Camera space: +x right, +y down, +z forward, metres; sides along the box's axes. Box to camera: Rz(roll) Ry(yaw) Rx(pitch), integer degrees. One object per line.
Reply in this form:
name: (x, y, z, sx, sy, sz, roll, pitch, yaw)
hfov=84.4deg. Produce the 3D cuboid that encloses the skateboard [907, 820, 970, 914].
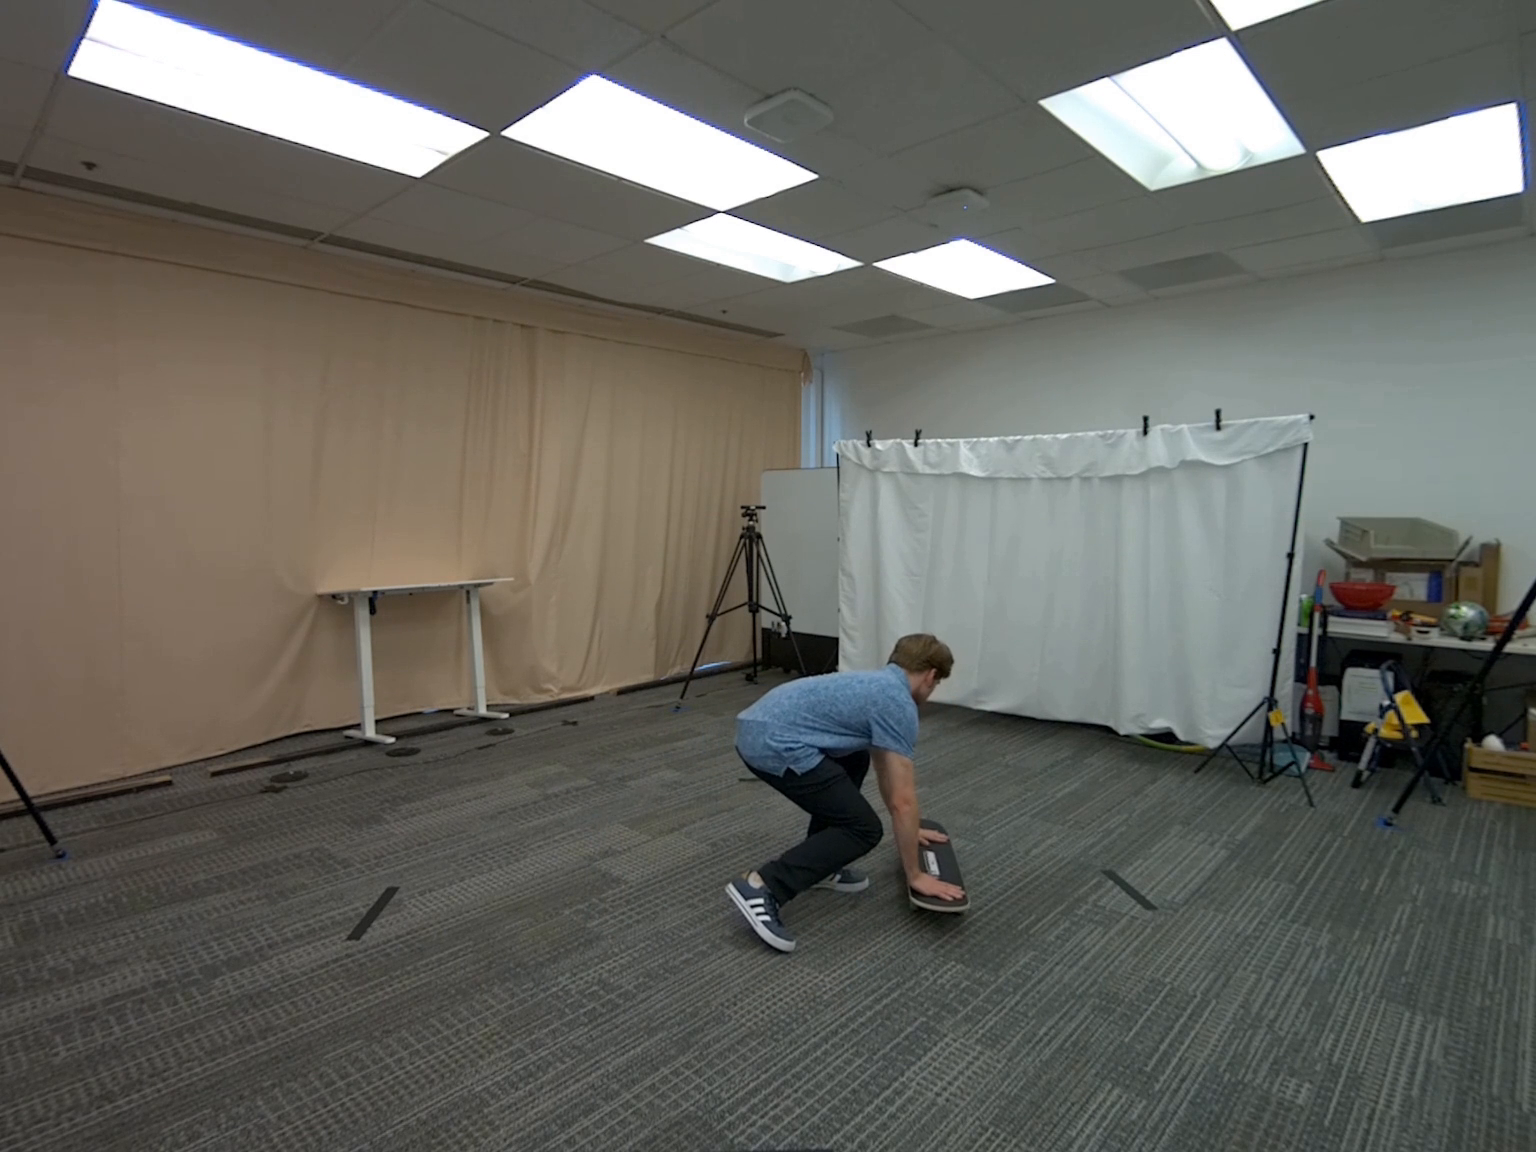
skateboard: (0.595, 1.073, 3.066, 0.195, 0.110, 0.782, 1, 5, 5)
